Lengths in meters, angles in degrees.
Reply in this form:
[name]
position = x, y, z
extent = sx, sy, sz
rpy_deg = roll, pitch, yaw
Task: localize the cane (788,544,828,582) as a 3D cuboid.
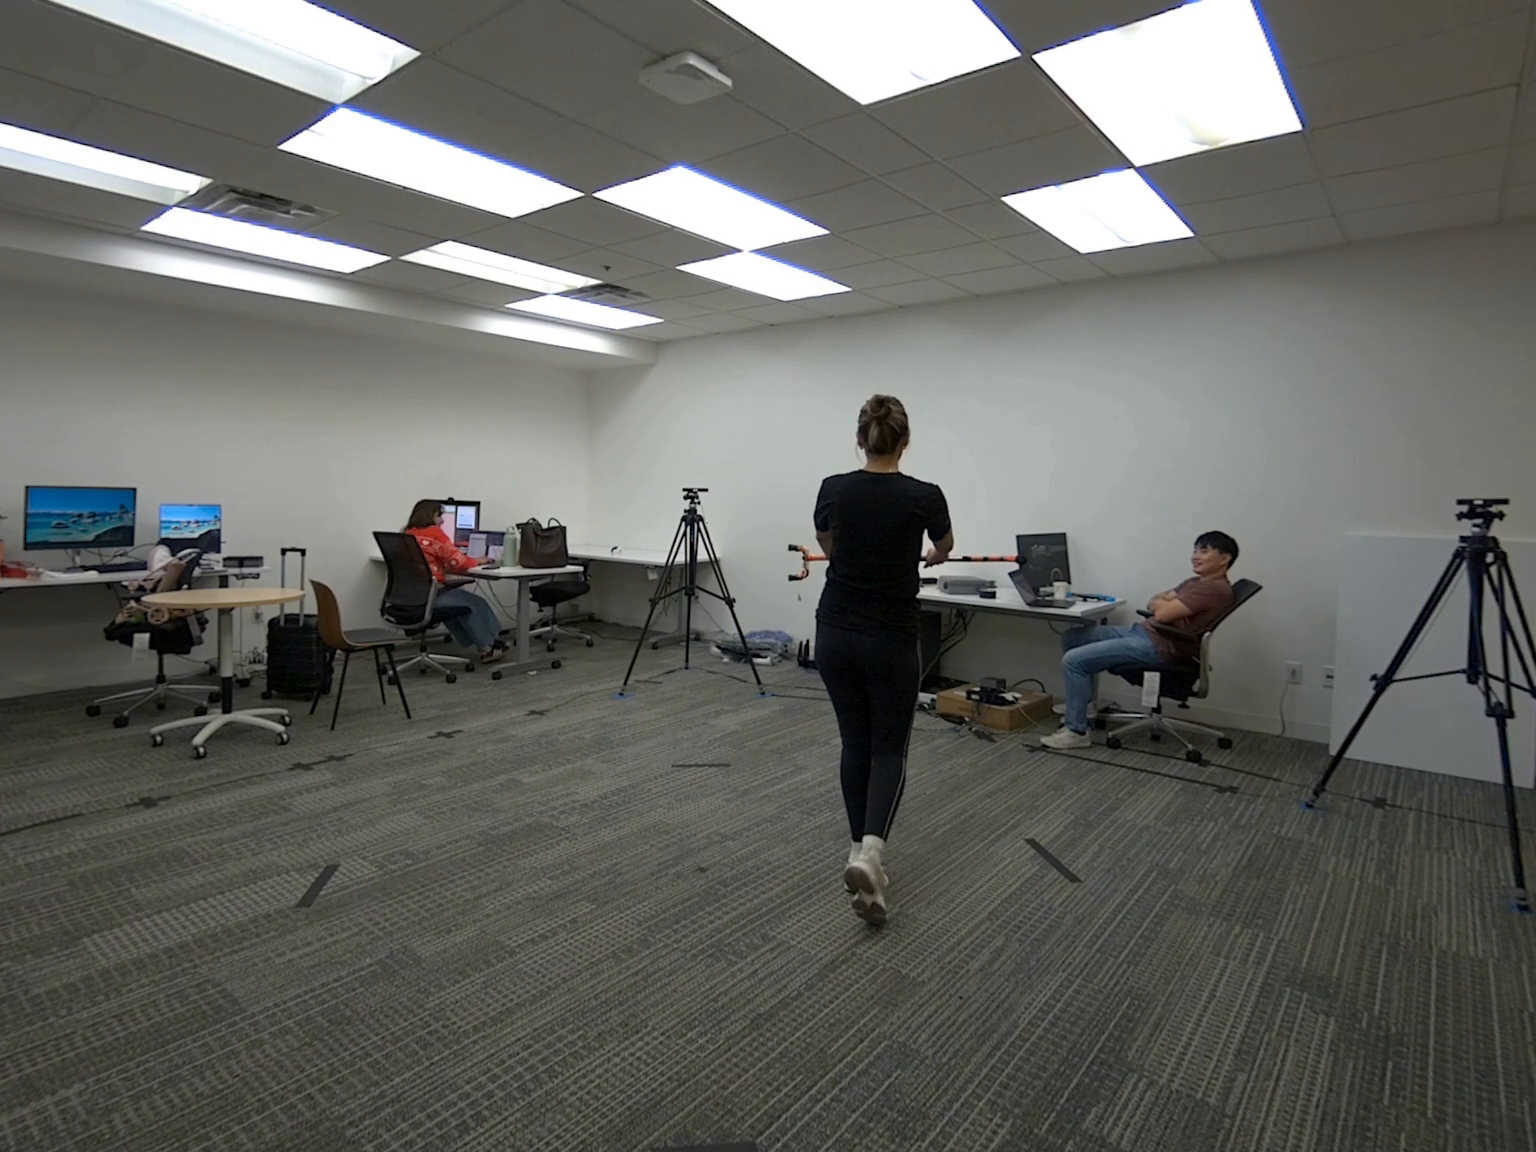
[cane]
position = 0.535, -0.053, 3.425
extent = 0.921, 0.151, 0.204
rpy_deg = 0, 3, 13
